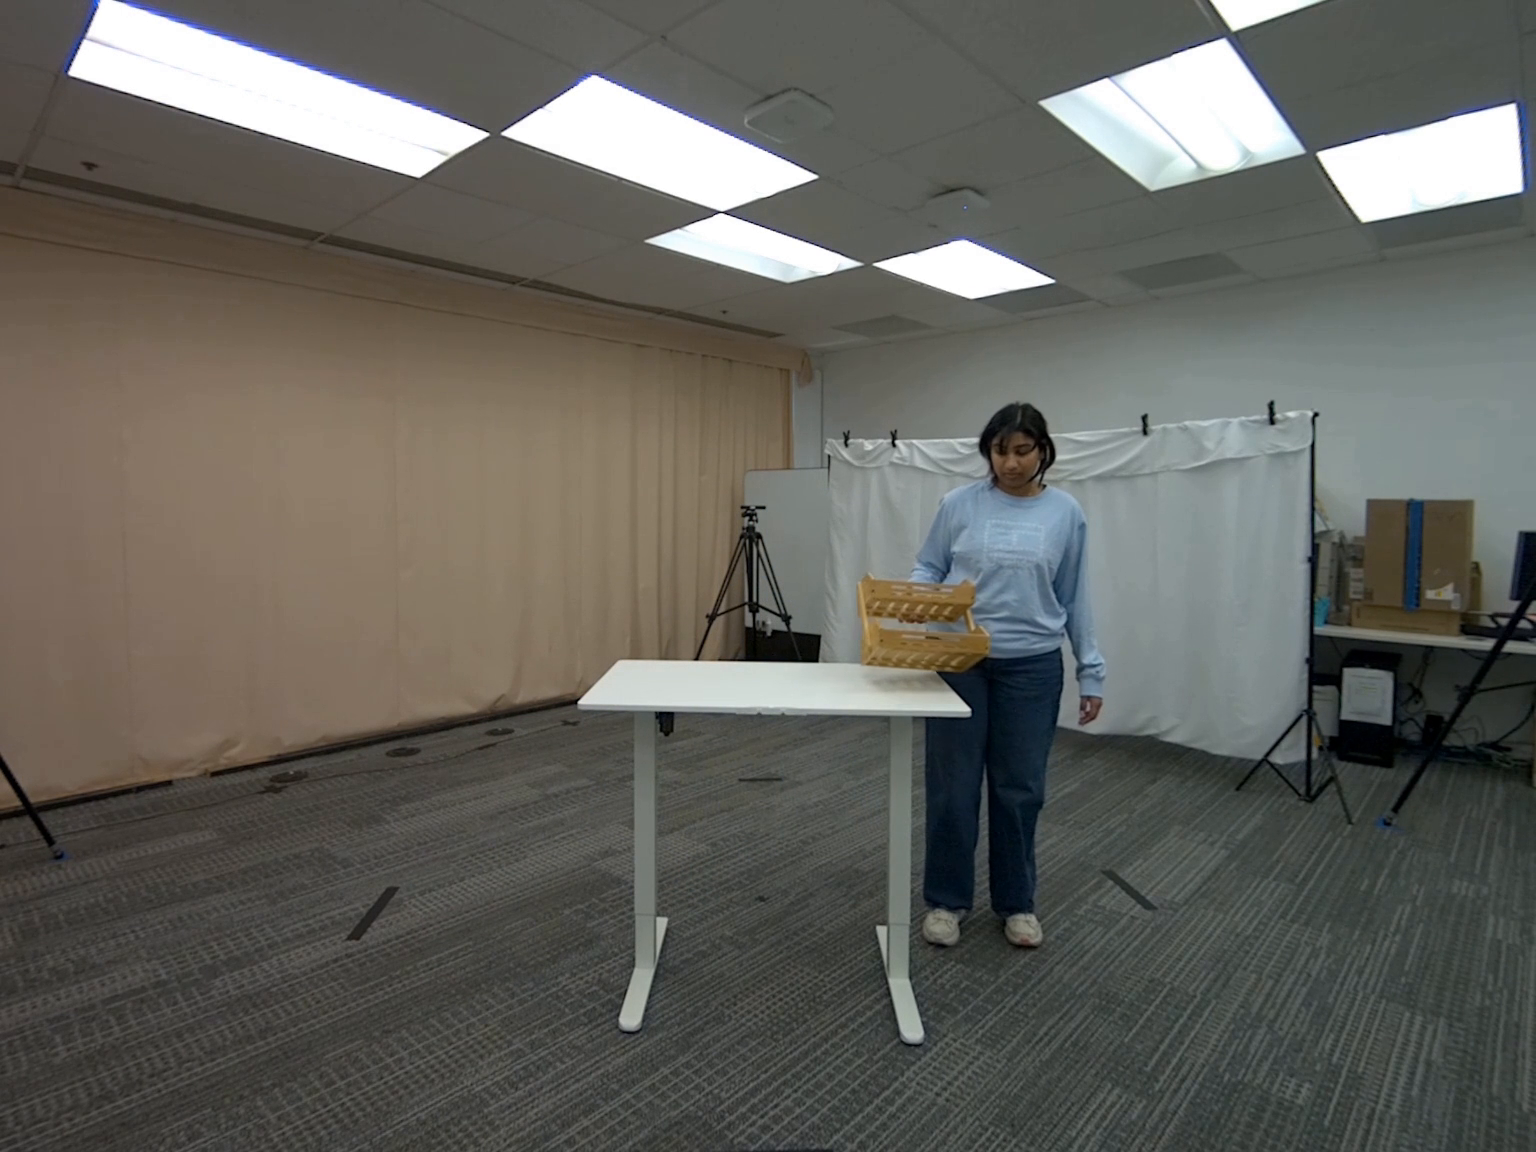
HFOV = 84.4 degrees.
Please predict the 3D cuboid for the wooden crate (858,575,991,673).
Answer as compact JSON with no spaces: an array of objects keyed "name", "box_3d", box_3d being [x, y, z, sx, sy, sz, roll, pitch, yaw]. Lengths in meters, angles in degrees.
[{"name":"wooden crate","box_3d":[0.449,0.119,2.429,0.324,0.276,0.299,5,-21,-3]}]
